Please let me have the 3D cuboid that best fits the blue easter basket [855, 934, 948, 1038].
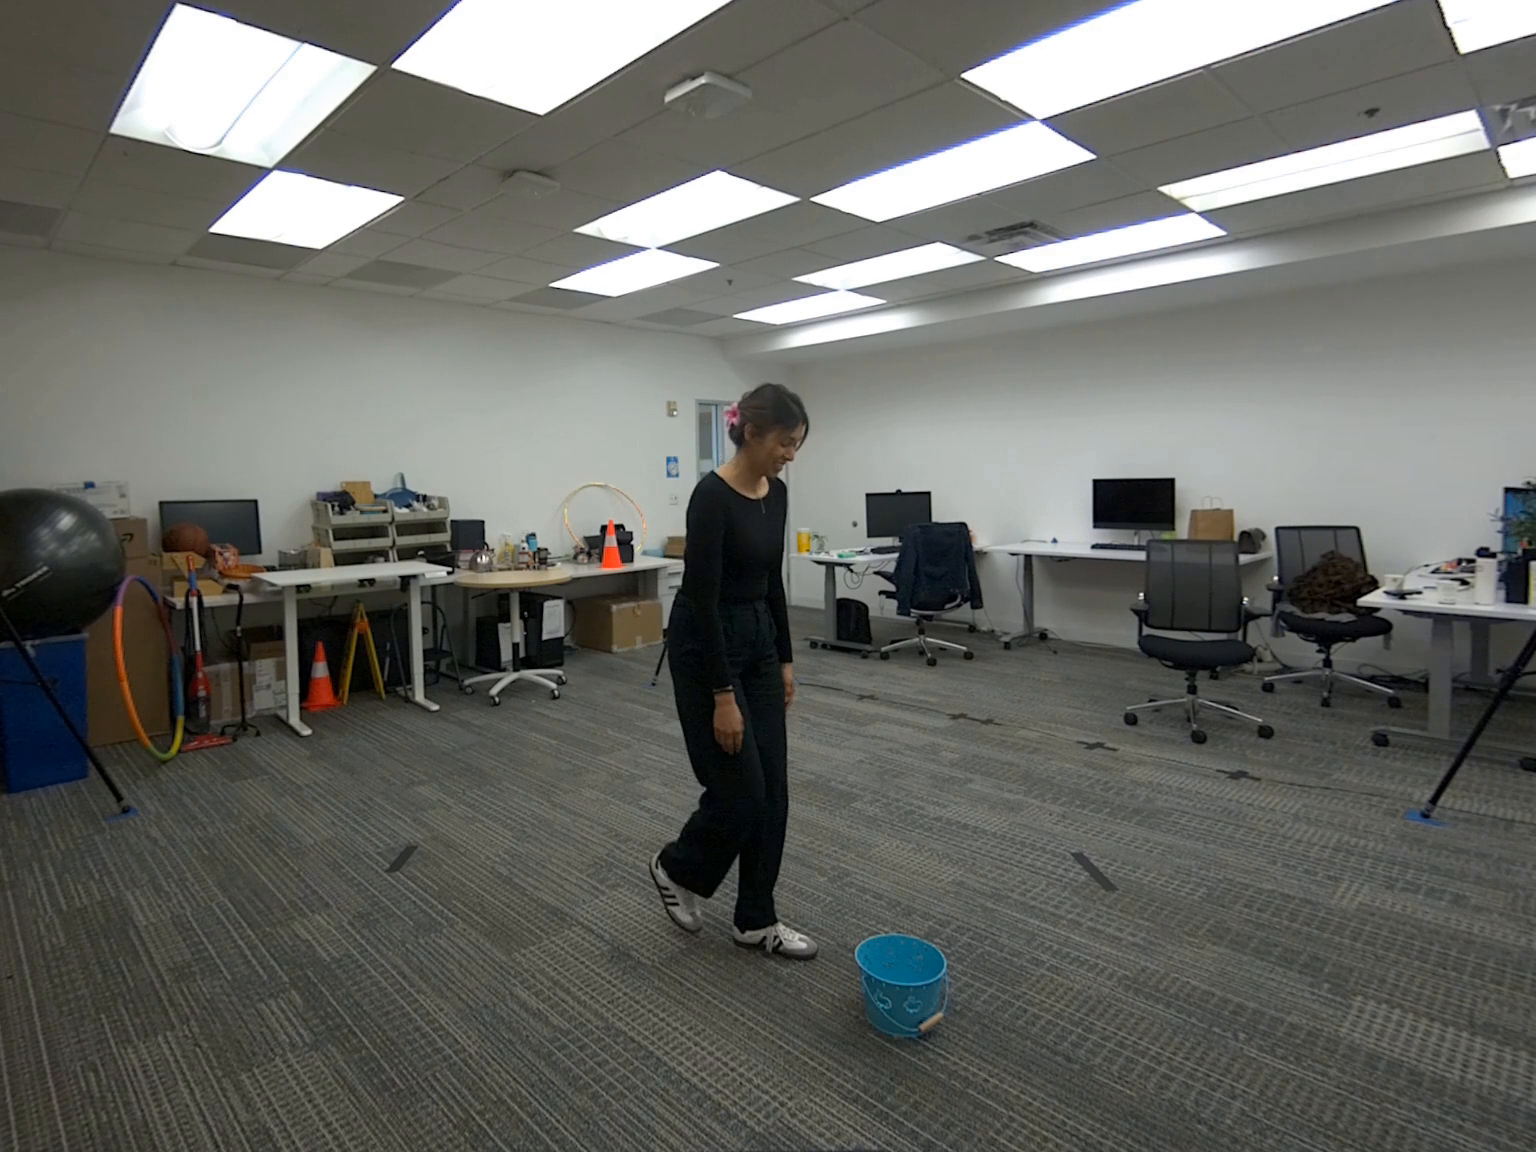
[{"bbox_3d":[0.349,1.066,2.206,0.243,0.155,0.245,-1,5,-2],"label":"blue easter basket"}]
